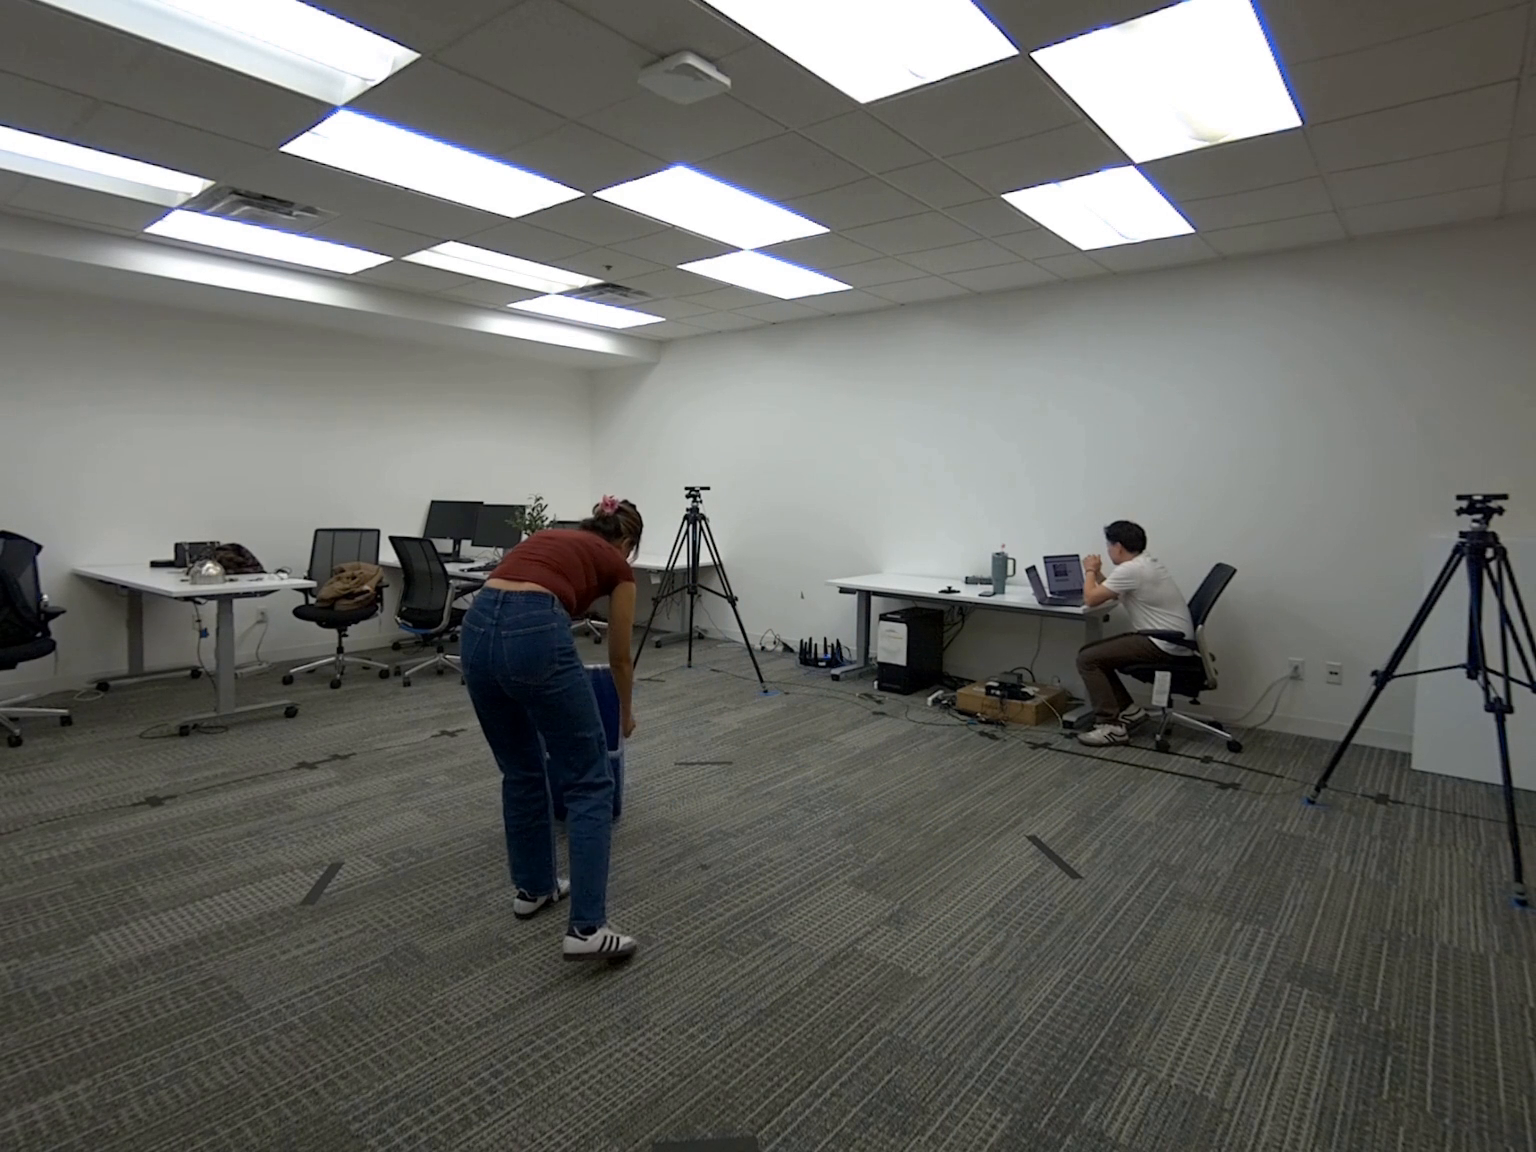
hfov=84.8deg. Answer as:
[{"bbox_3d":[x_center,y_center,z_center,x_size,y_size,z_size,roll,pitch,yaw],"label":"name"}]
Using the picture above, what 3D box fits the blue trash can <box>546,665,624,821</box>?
[{"bbox_3d":[-0.735,0.689,3.369,0.376,0.385,0.696,1,-37,-6],"label":"blue trash can"}]
